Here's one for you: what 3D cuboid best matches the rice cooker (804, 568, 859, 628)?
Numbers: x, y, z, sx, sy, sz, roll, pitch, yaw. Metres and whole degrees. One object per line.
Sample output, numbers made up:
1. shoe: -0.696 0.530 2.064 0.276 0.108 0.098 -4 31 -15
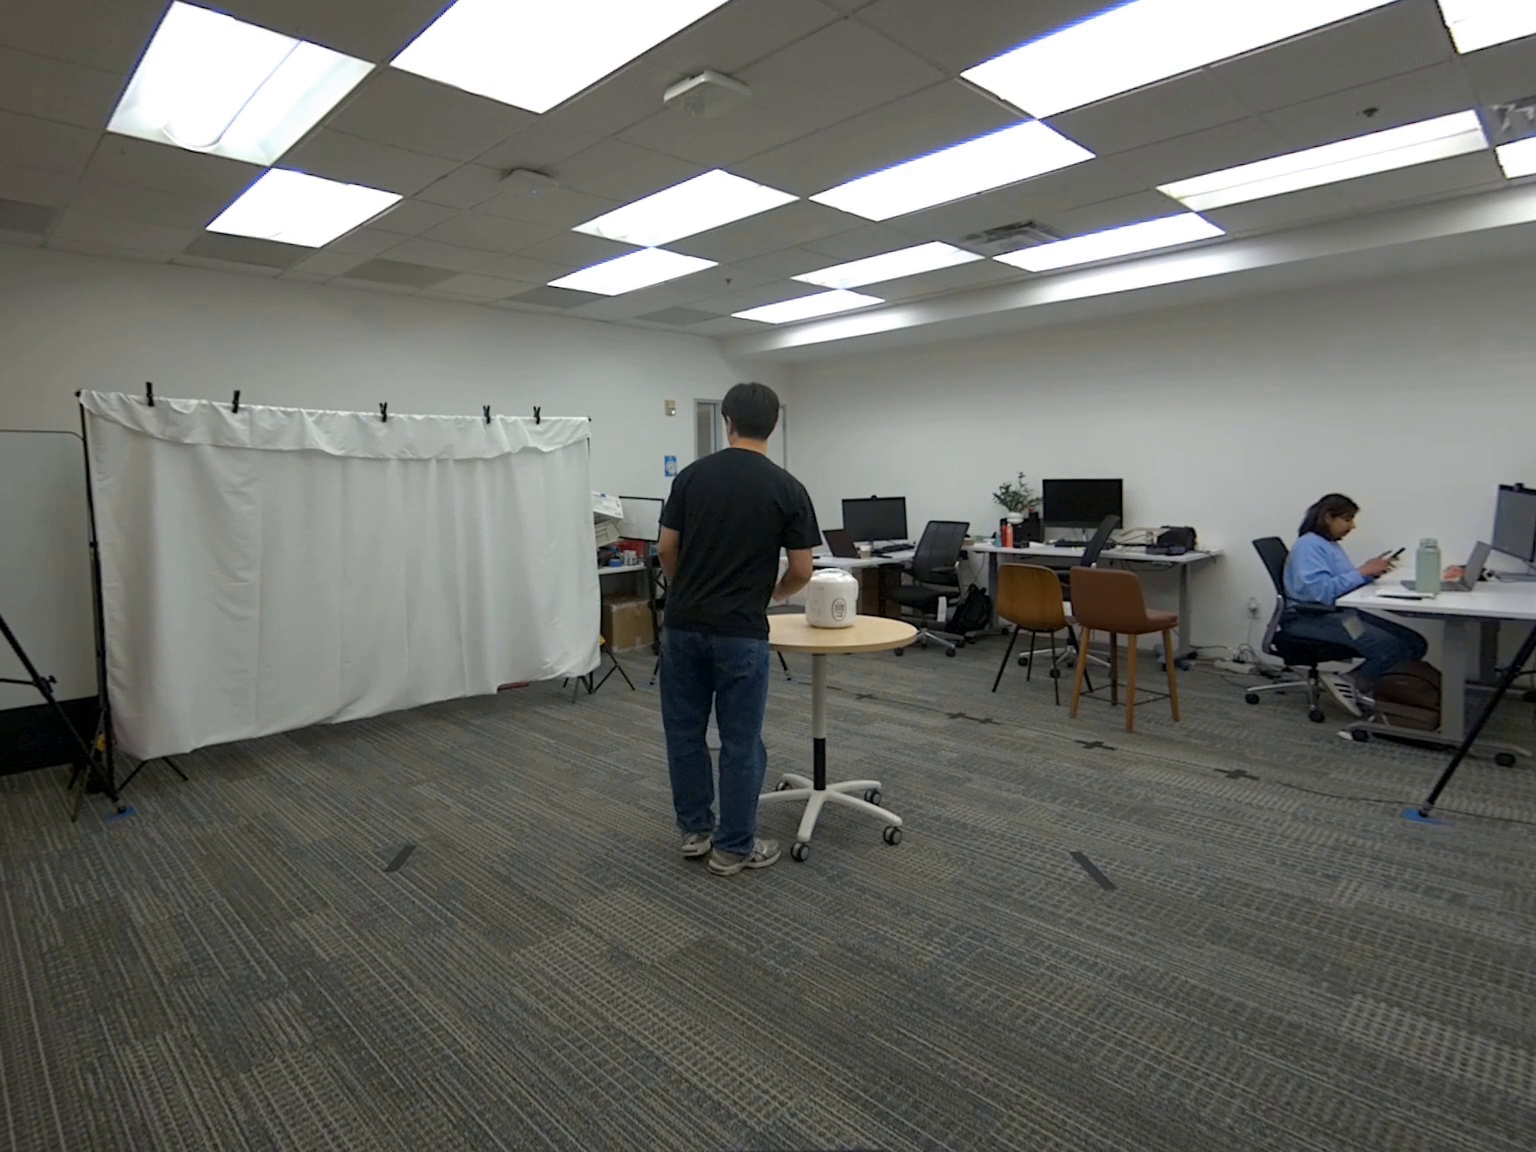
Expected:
1. rice cooker: 0.263 0.086 3.465 0.218 0.232 0.221 -2 4 -13
